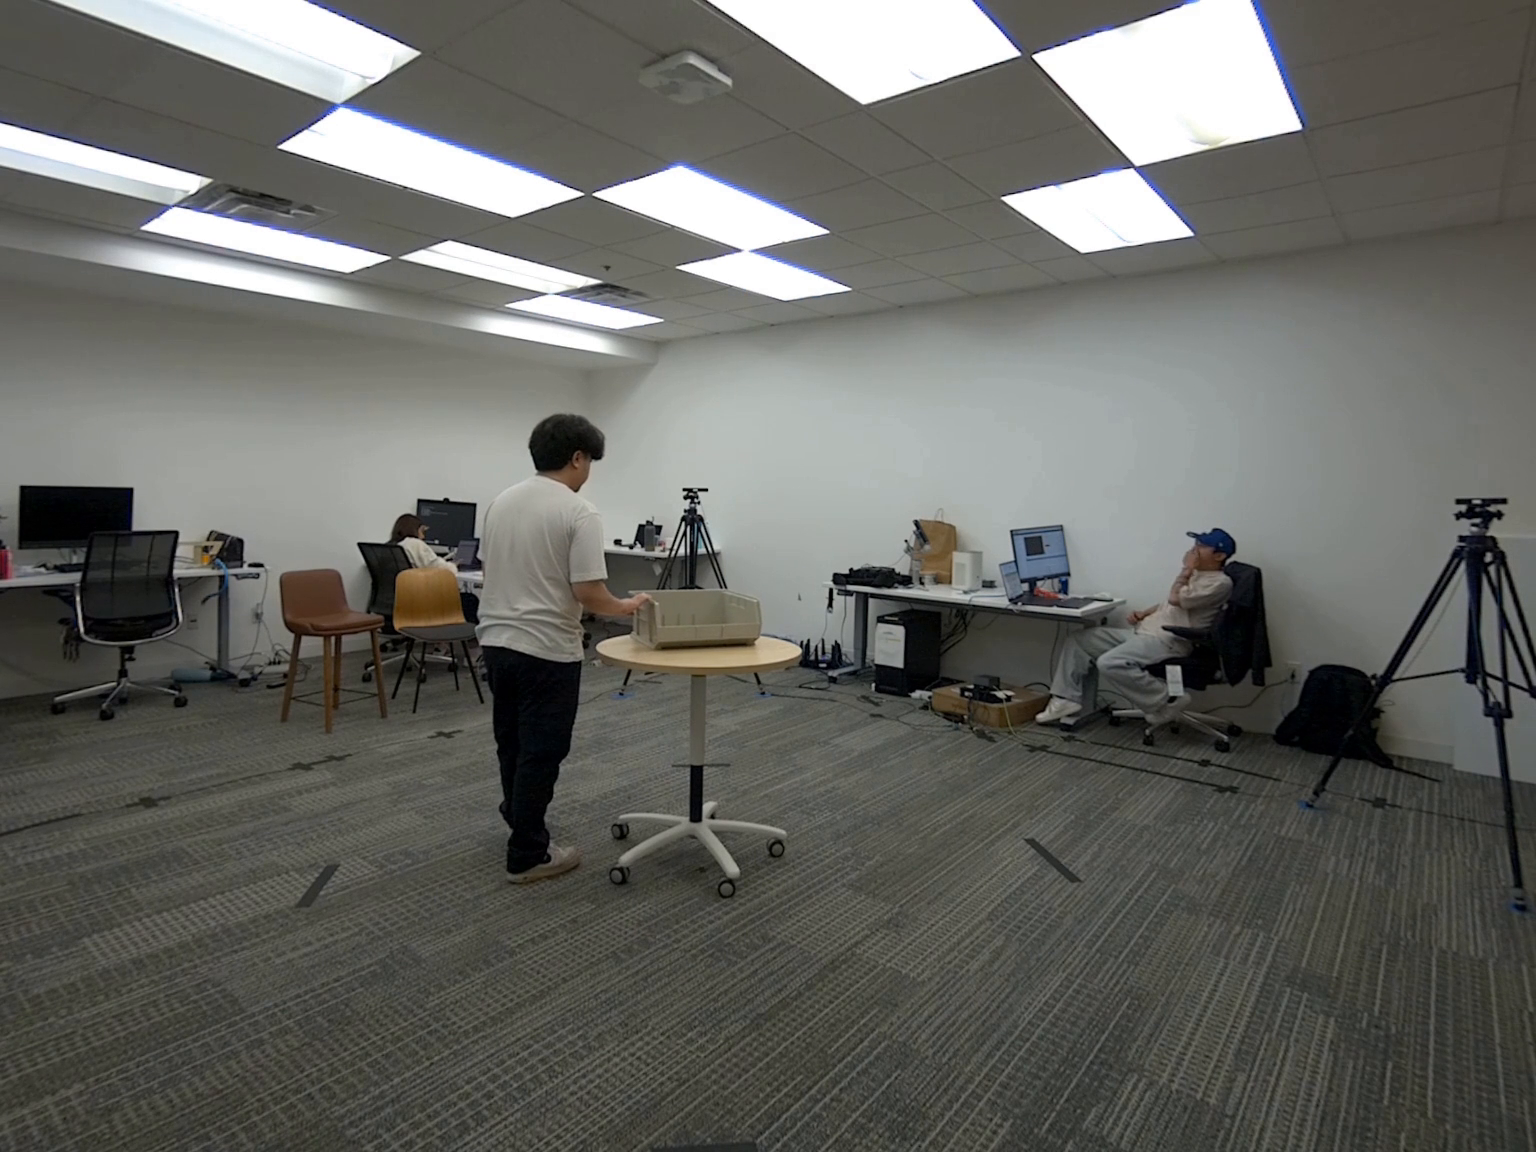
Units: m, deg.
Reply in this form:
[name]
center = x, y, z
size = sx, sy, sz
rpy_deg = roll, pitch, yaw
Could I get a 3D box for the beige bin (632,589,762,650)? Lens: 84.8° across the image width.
[beige bin]
center = -0.299, 0.162, 3.312
size = 0.413, 0.188, 0.386
rpy_deg = -1, 4, -23
